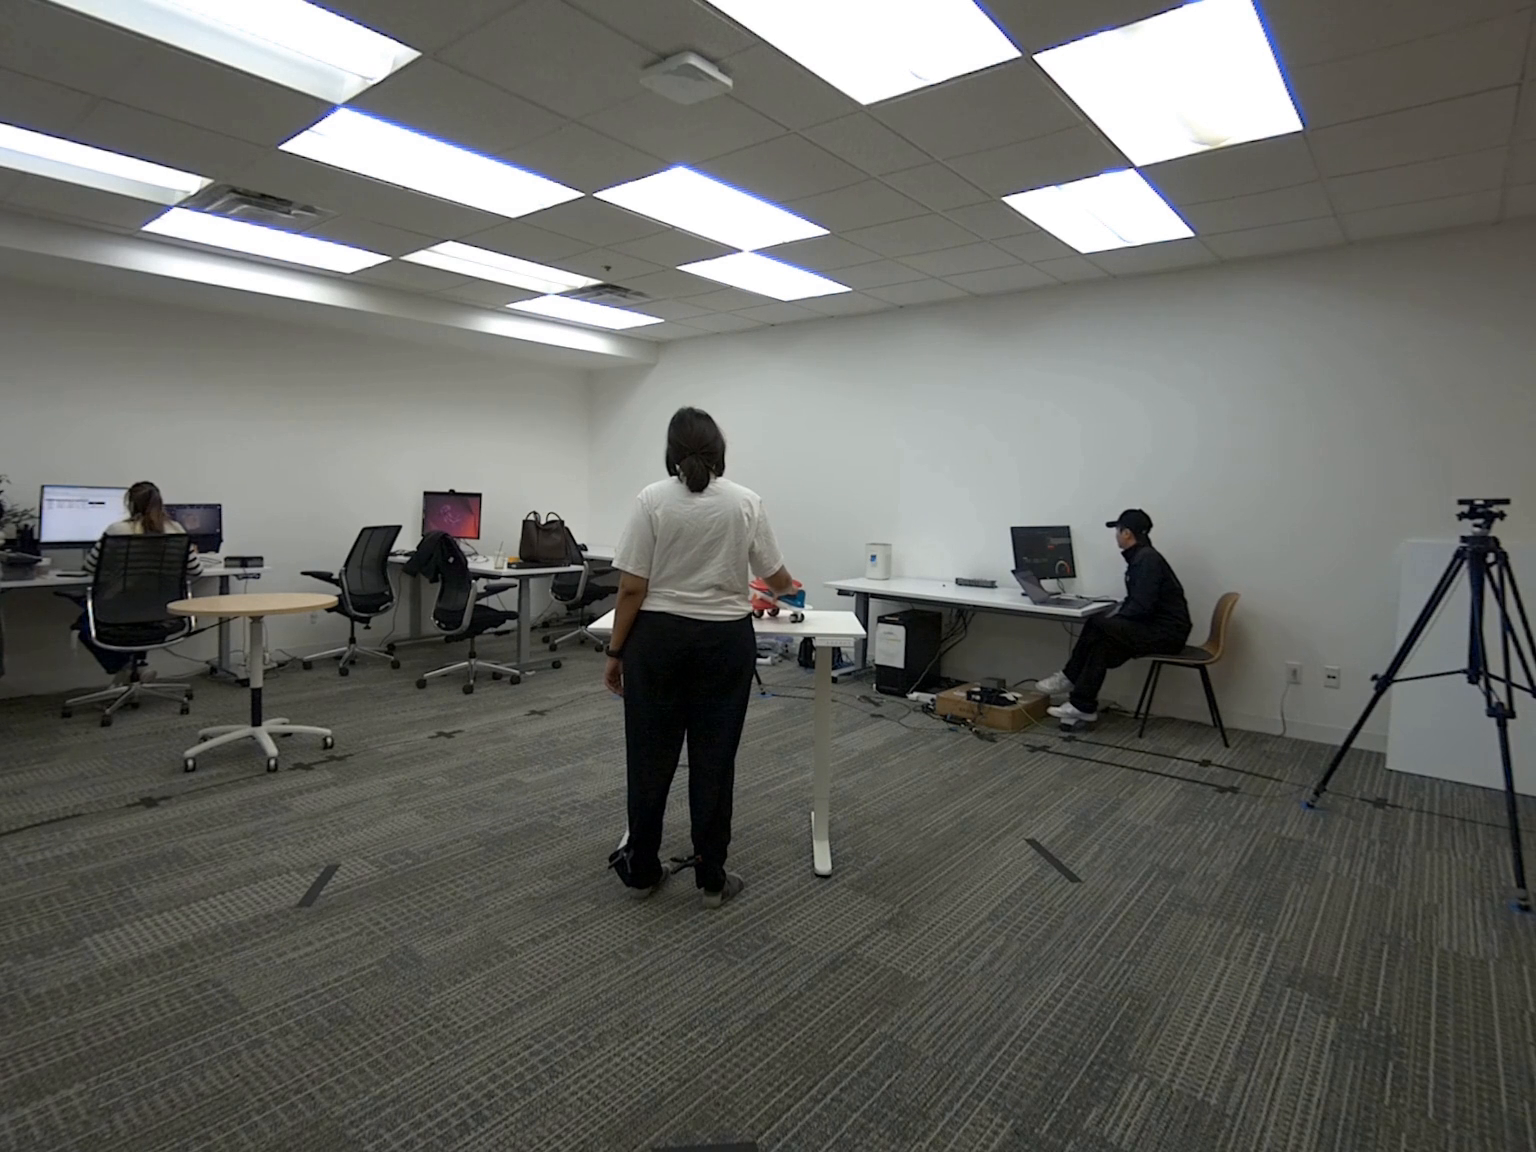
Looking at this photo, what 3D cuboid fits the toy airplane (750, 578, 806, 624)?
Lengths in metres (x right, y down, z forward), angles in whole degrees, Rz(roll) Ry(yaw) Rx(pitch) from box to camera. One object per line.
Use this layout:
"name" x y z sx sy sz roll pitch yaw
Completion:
"toy airplane" 0.050 0.093 3.355 0.265 0.156 0.246 2 5 20
